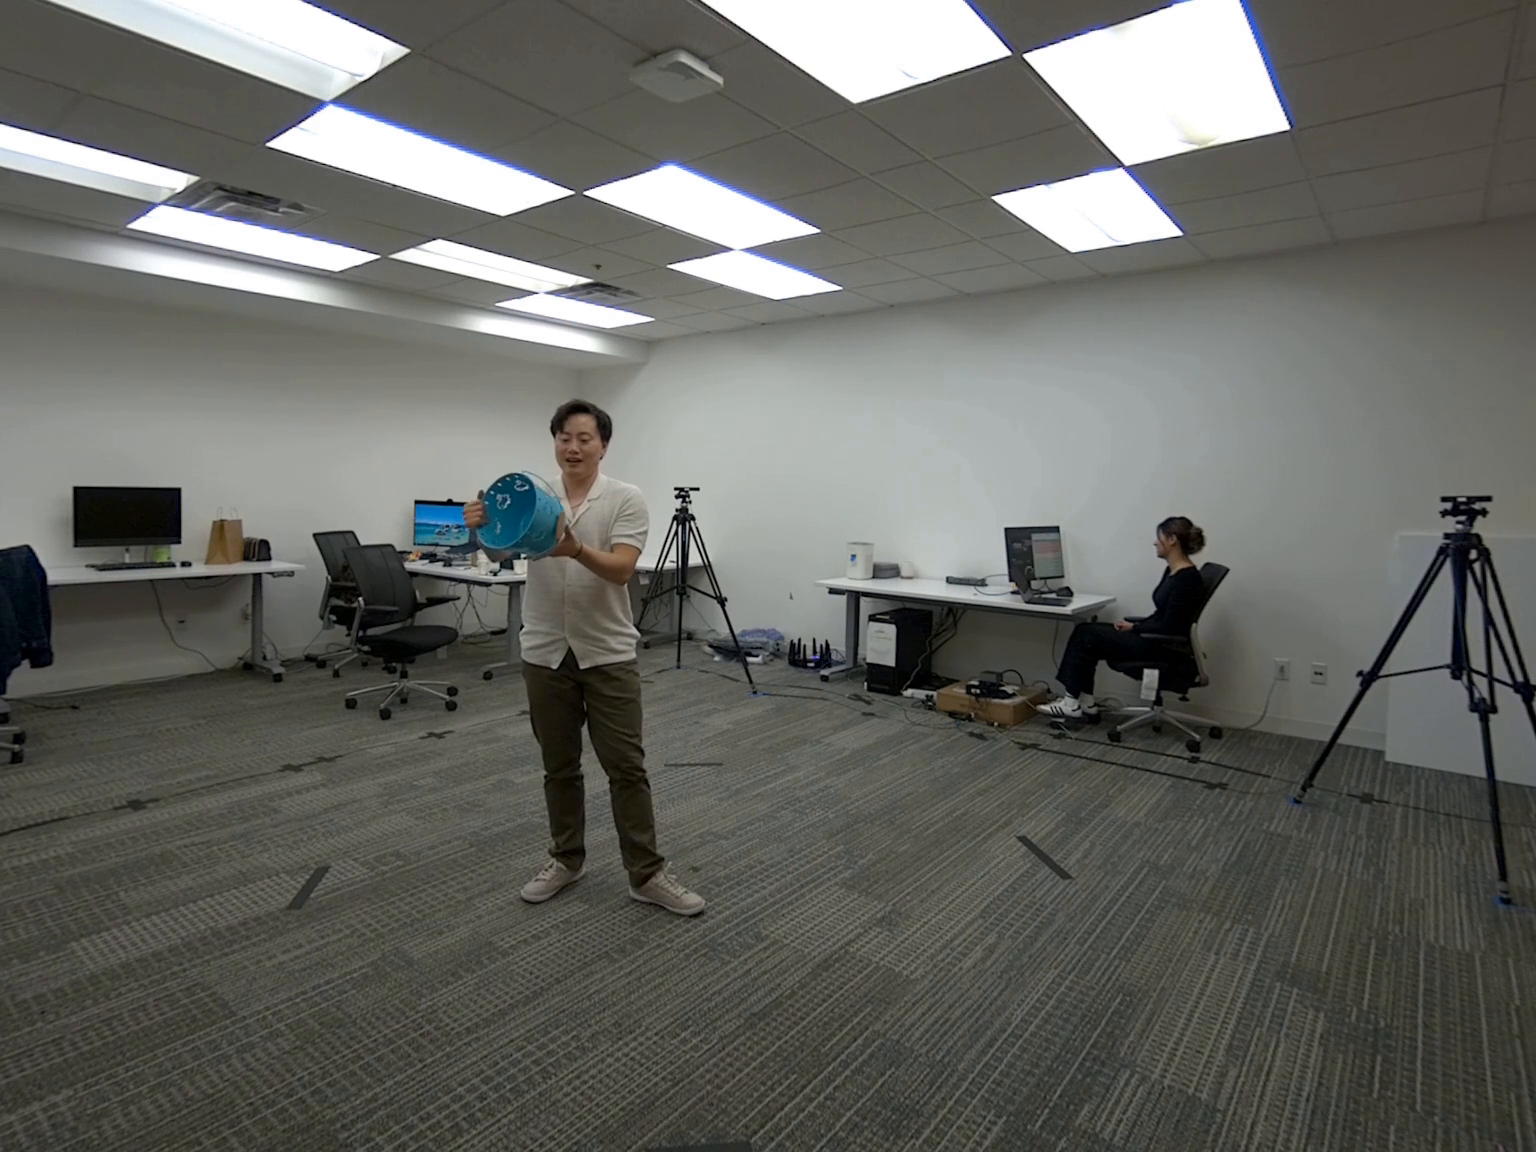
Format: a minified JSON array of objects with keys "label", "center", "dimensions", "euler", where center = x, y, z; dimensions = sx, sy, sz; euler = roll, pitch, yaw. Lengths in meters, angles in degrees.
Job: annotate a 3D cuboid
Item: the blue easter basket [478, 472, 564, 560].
[{"label":"blue easter basket","center":[-0.701,-0.160,2.436],"dimensions":[0.251,0.246,0.150],"euler":[3,-15,32]}]
